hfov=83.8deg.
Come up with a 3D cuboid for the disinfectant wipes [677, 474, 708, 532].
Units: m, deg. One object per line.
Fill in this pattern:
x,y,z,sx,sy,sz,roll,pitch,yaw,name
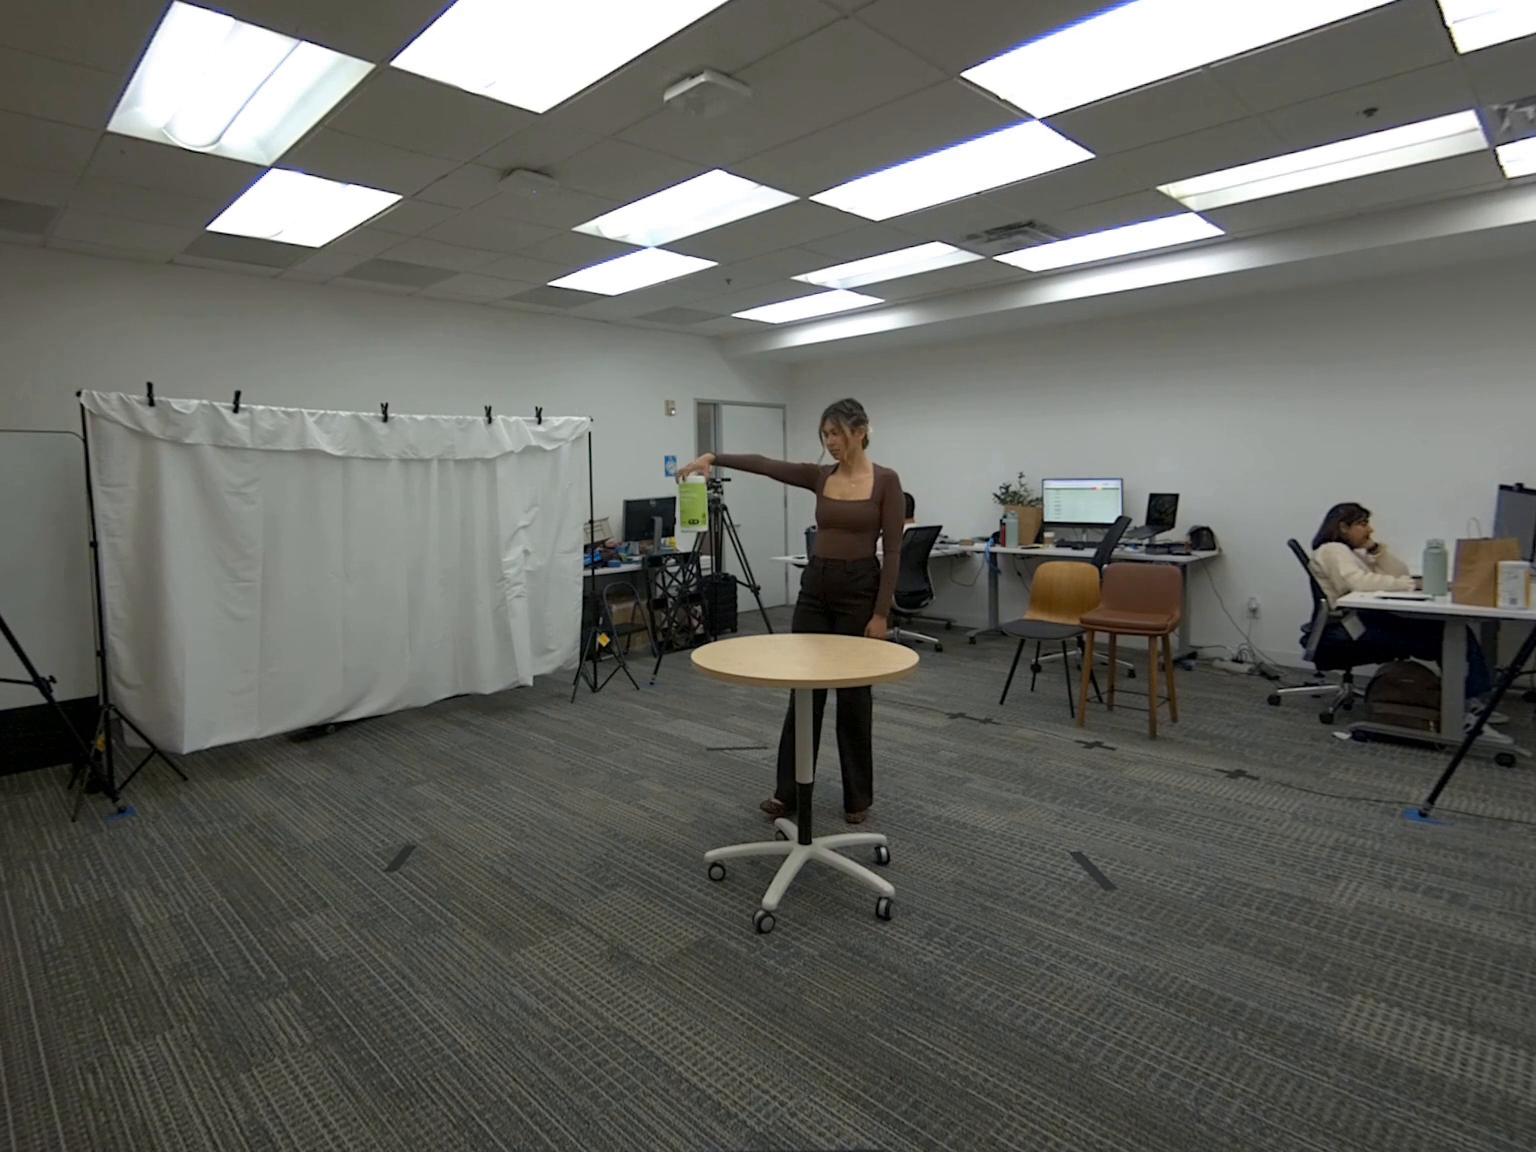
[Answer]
-0.287,-0.281,3.316,0.118,0.217,0.118,-1,4,-2,disinfectant wipes
